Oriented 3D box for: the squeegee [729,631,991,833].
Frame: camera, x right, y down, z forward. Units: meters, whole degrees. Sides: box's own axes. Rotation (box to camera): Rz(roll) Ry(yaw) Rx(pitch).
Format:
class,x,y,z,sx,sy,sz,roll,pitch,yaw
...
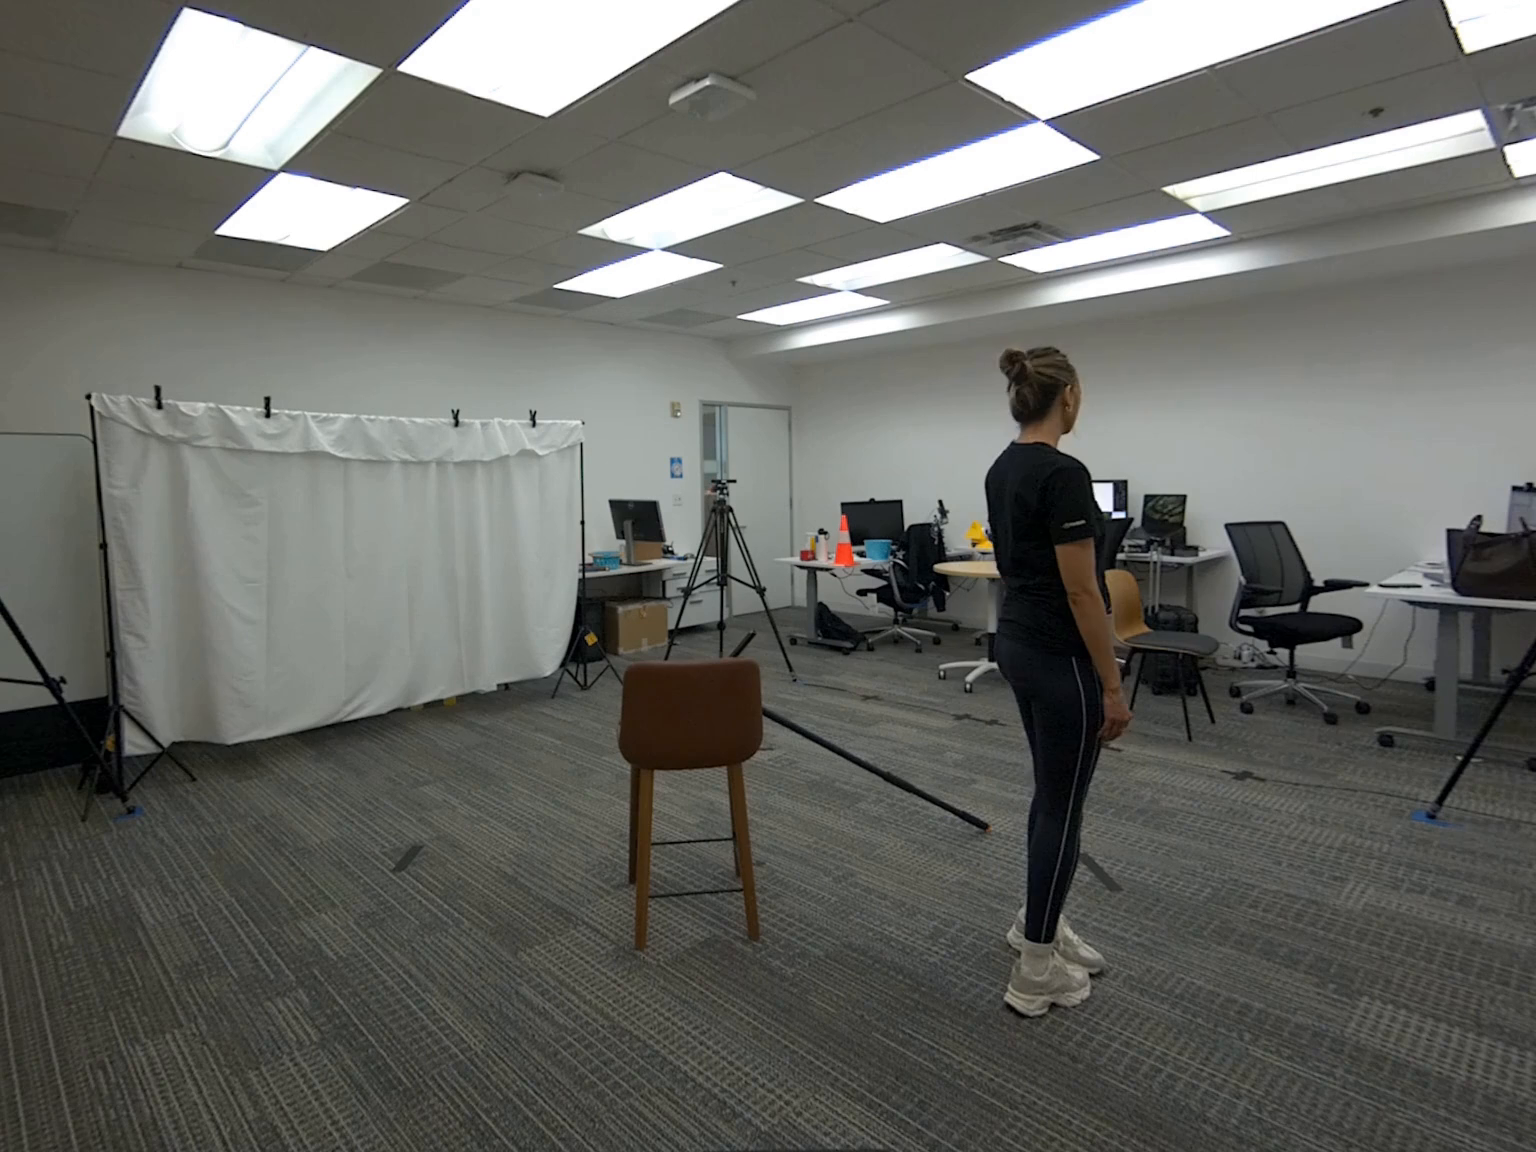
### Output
class,x,y,z,sx,sy,sz,roll,pitch,yaw
squeegee,0.325,0.647,2.996,1.484,0.437,0.055,32,9,-32
